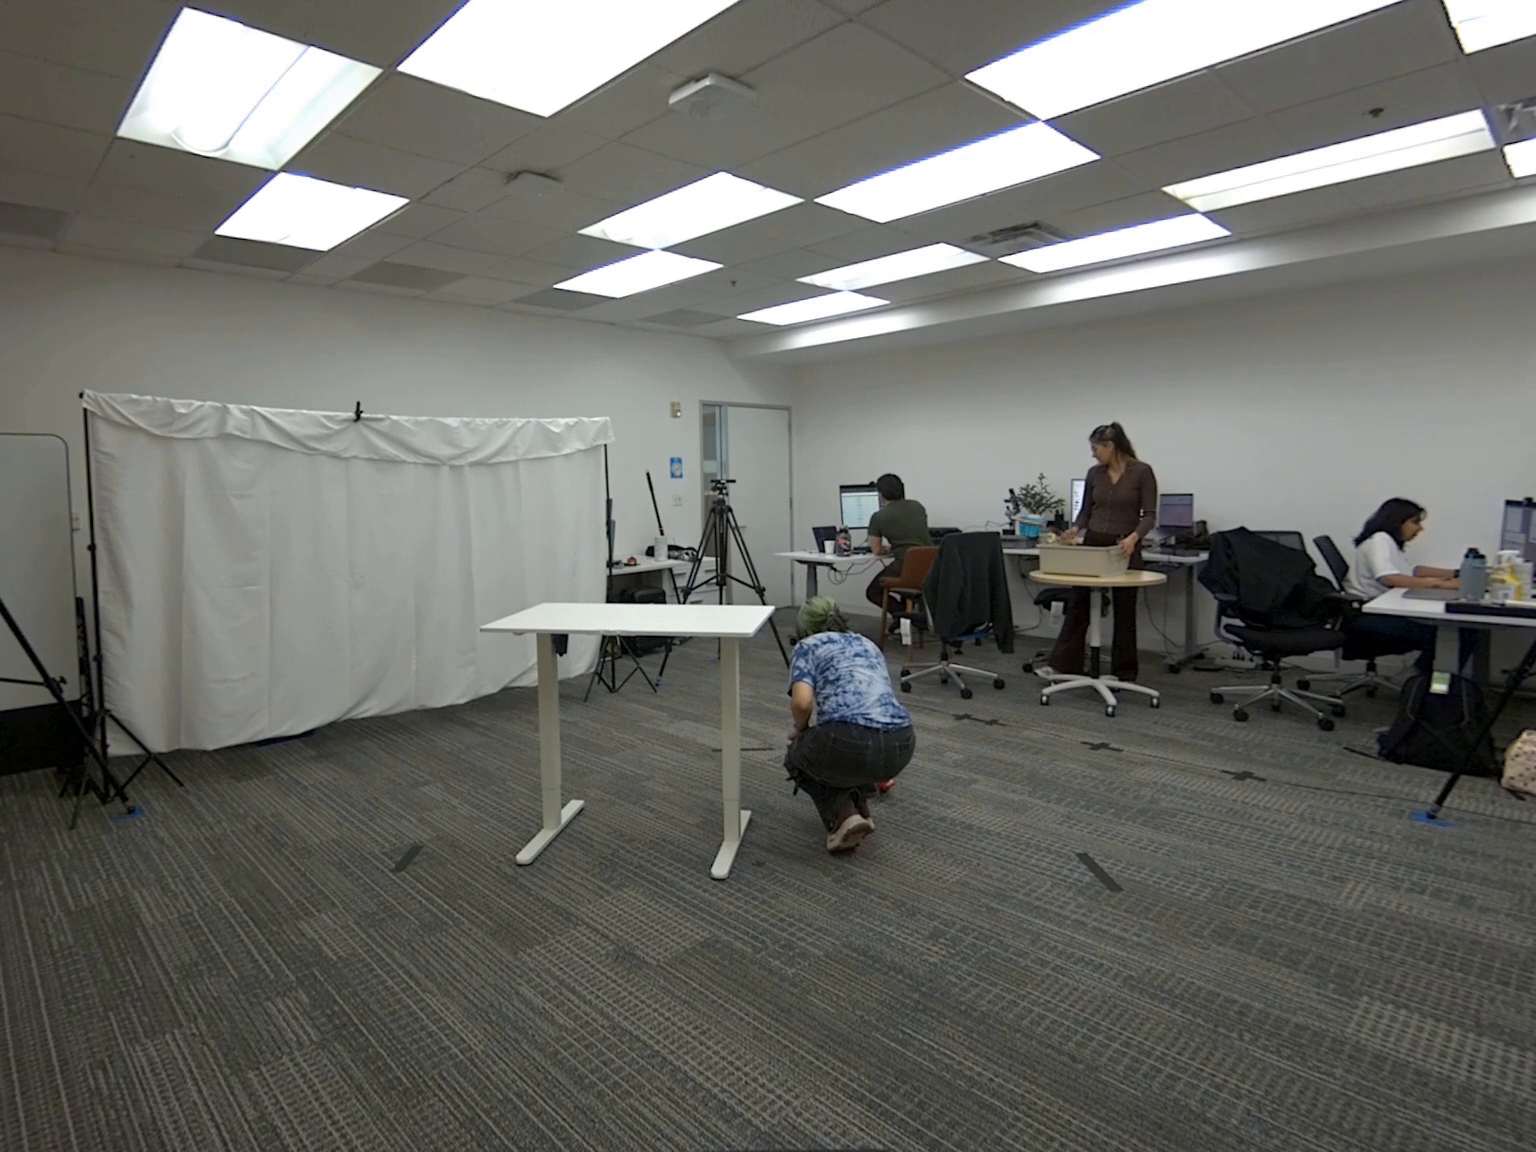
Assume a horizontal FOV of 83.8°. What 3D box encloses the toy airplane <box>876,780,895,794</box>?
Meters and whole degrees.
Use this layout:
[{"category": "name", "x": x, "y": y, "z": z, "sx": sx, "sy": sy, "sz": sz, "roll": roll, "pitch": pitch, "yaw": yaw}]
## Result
[{"category": "toy airplane", "x": 0.448, "y": 0.894, "z": 3.785, "sx": 0.258, "sy": 0.156, "sz": 0.253, "roll": 3, "pitch": 6, "yaw": 29}]
